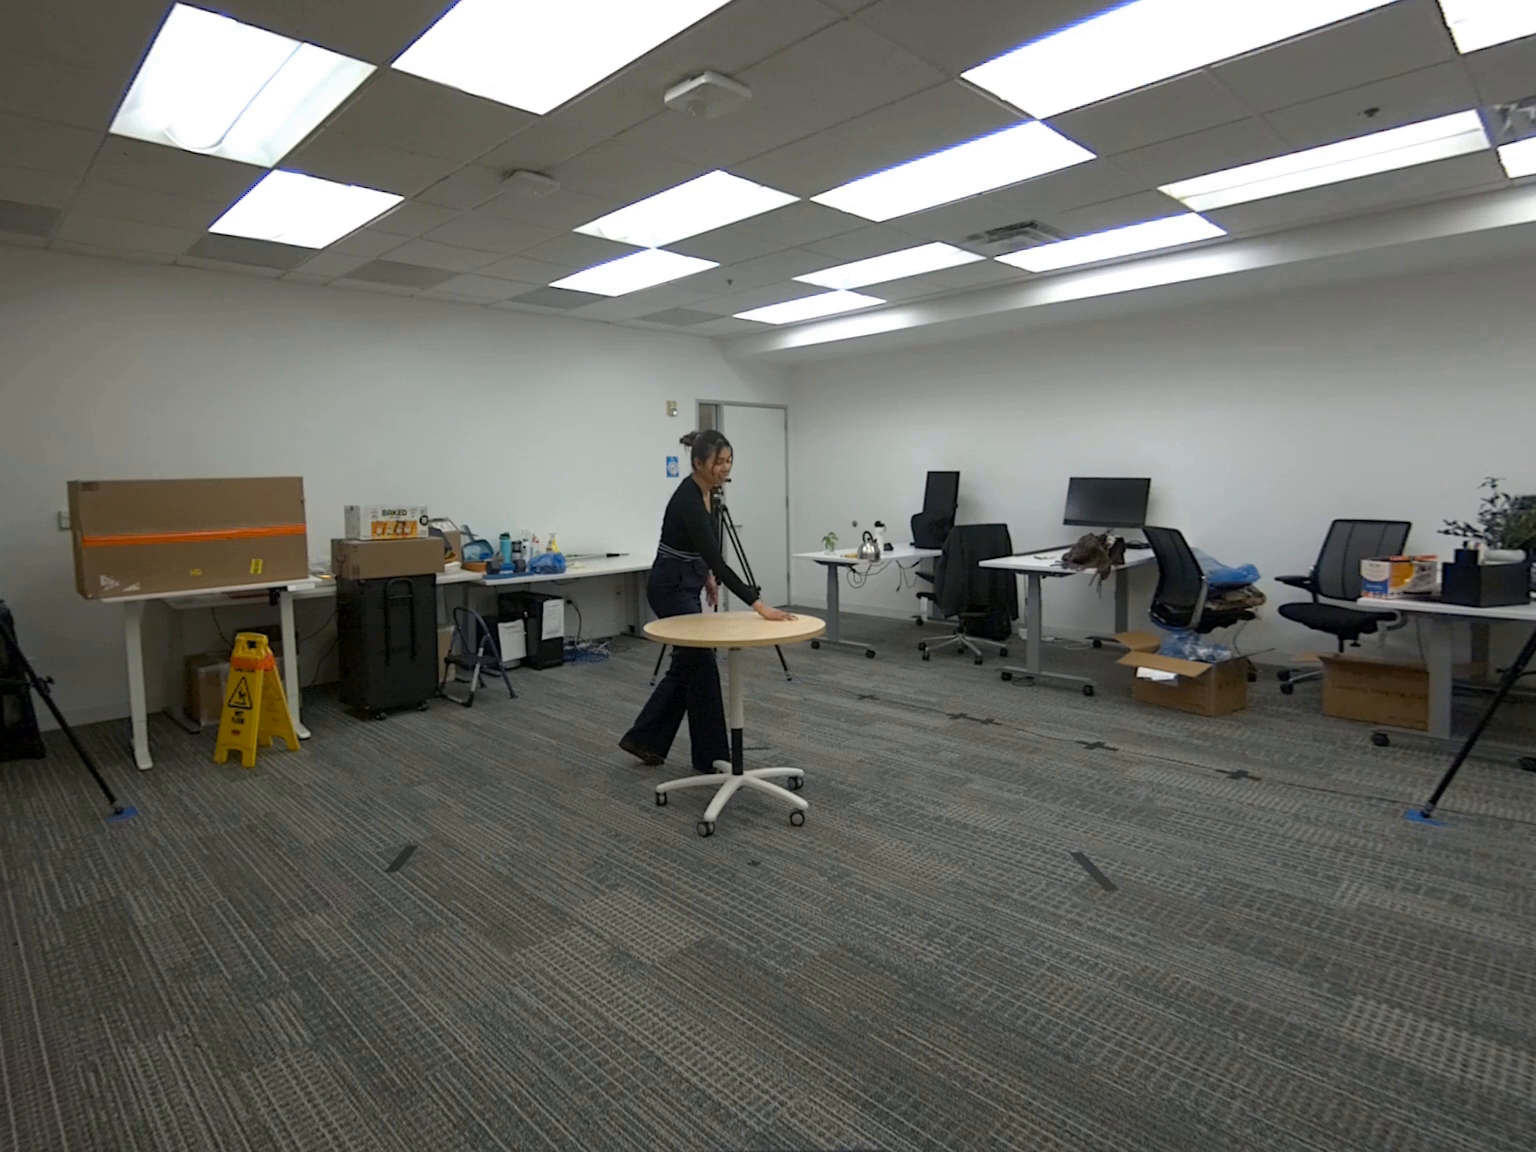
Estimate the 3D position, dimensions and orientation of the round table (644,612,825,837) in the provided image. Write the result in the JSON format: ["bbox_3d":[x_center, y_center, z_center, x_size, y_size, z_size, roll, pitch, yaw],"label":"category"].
[{"bbox_3d":[-0.130,0.599,3.630,0.763,0.791,0.767,-1,4,-2],"label":"round table"}]
